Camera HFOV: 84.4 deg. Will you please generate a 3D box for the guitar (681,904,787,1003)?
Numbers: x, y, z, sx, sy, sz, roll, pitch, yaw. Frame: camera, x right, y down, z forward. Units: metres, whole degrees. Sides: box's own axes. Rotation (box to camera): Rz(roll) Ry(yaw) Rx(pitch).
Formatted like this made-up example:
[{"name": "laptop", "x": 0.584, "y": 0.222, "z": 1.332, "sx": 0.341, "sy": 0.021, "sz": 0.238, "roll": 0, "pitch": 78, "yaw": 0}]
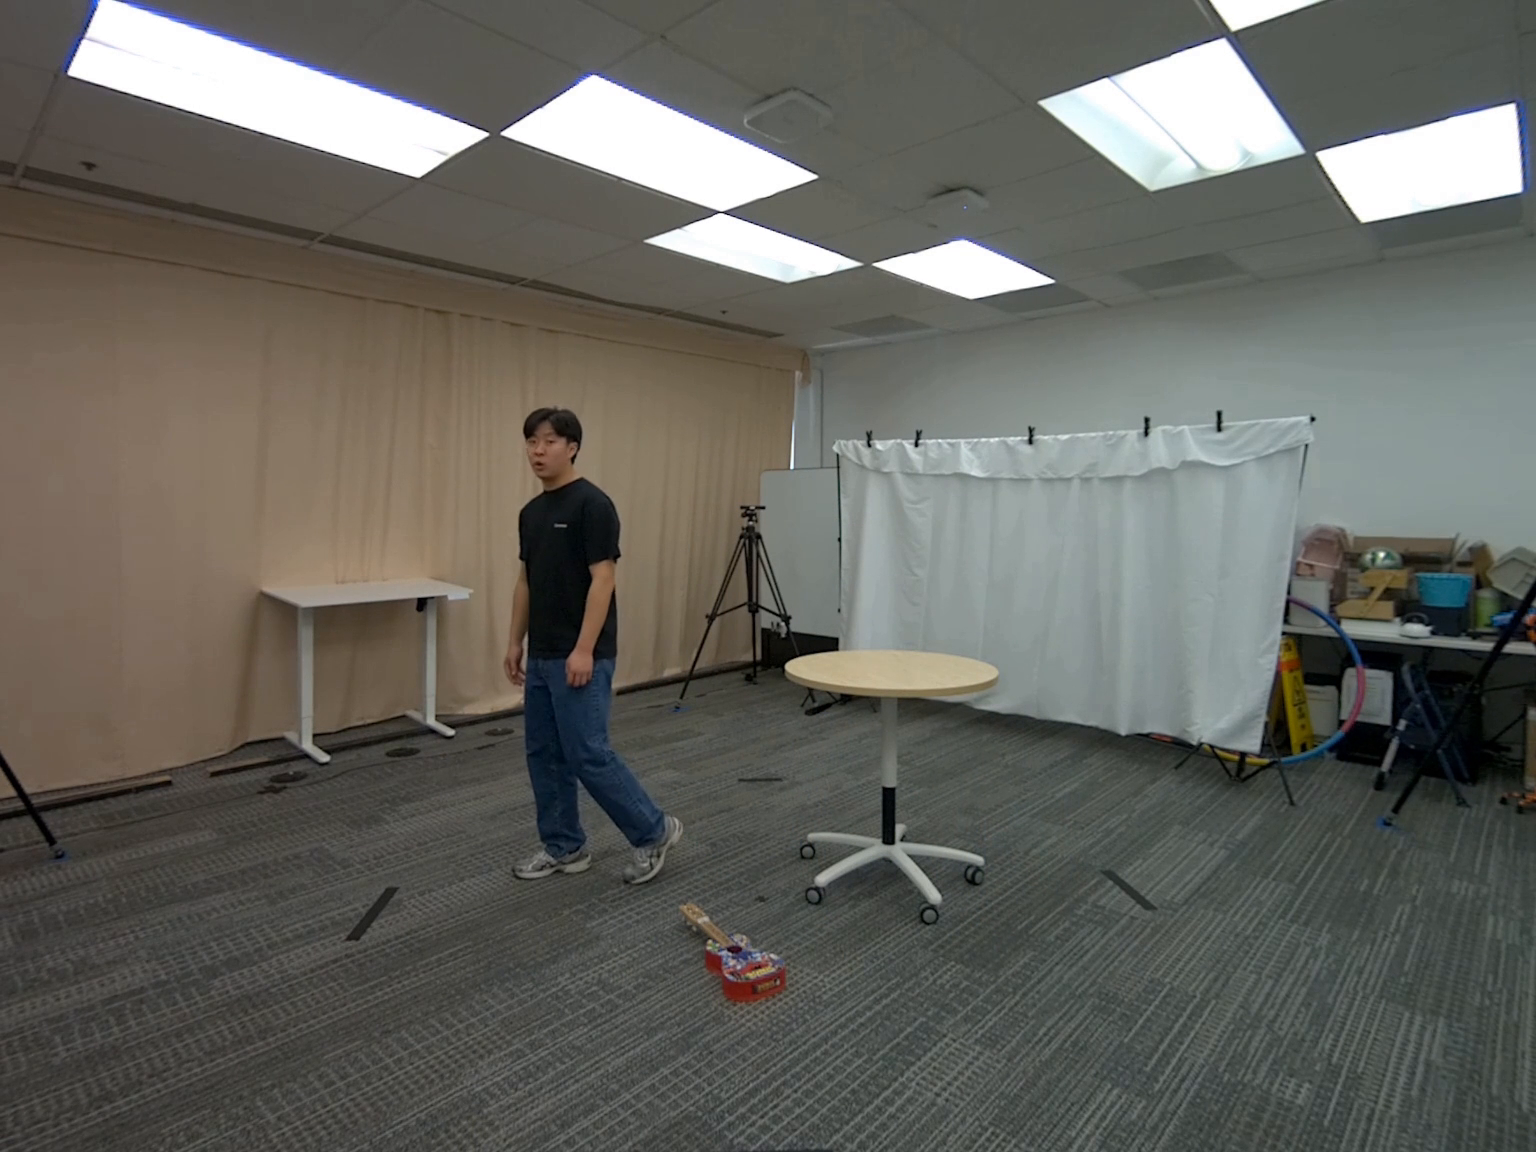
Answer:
[{"name": "guitar", "x": -0.112, "y": 1.143, "z": 2.604, "sx": 0.189, "sy": 0.070, "sz": 0.510, "roll": -3, "pitch": 6, "yaw": -23}]
